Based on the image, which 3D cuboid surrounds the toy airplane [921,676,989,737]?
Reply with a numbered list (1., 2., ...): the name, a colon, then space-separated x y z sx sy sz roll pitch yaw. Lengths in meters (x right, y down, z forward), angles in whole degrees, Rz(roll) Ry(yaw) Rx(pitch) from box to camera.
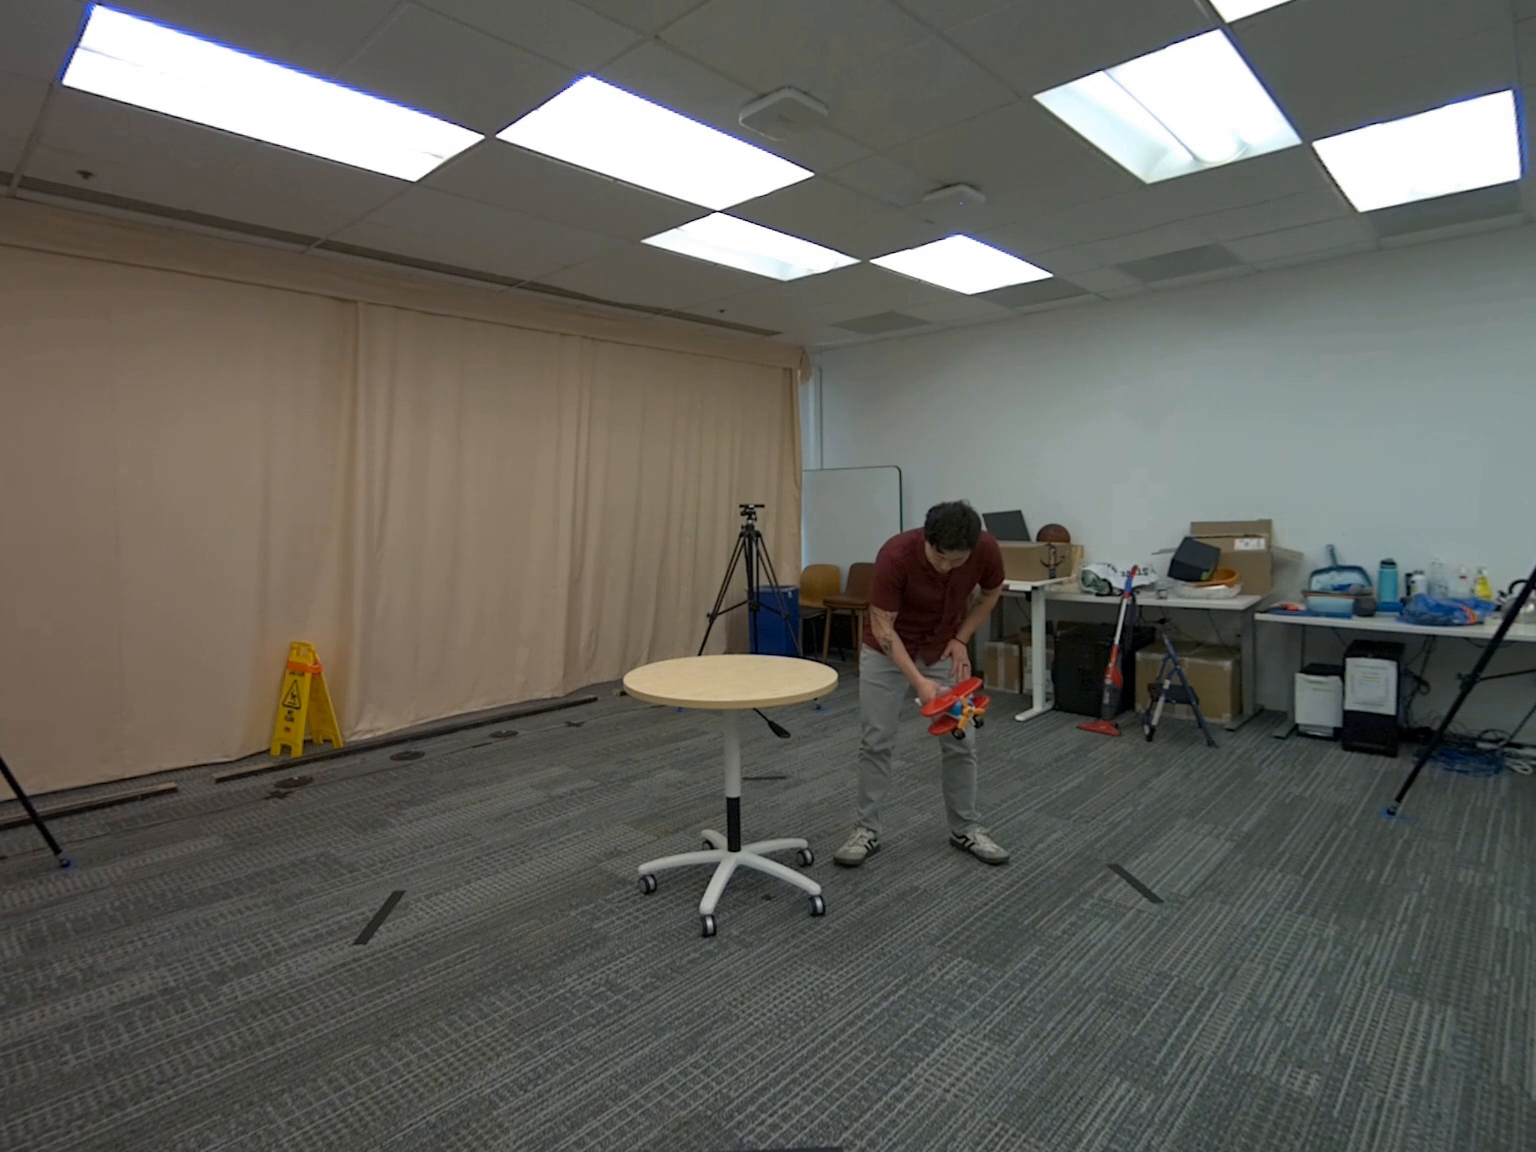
1. toy airplane: 0.658 0.480 3.075 0.268 0.153 0.249 4 37 40
